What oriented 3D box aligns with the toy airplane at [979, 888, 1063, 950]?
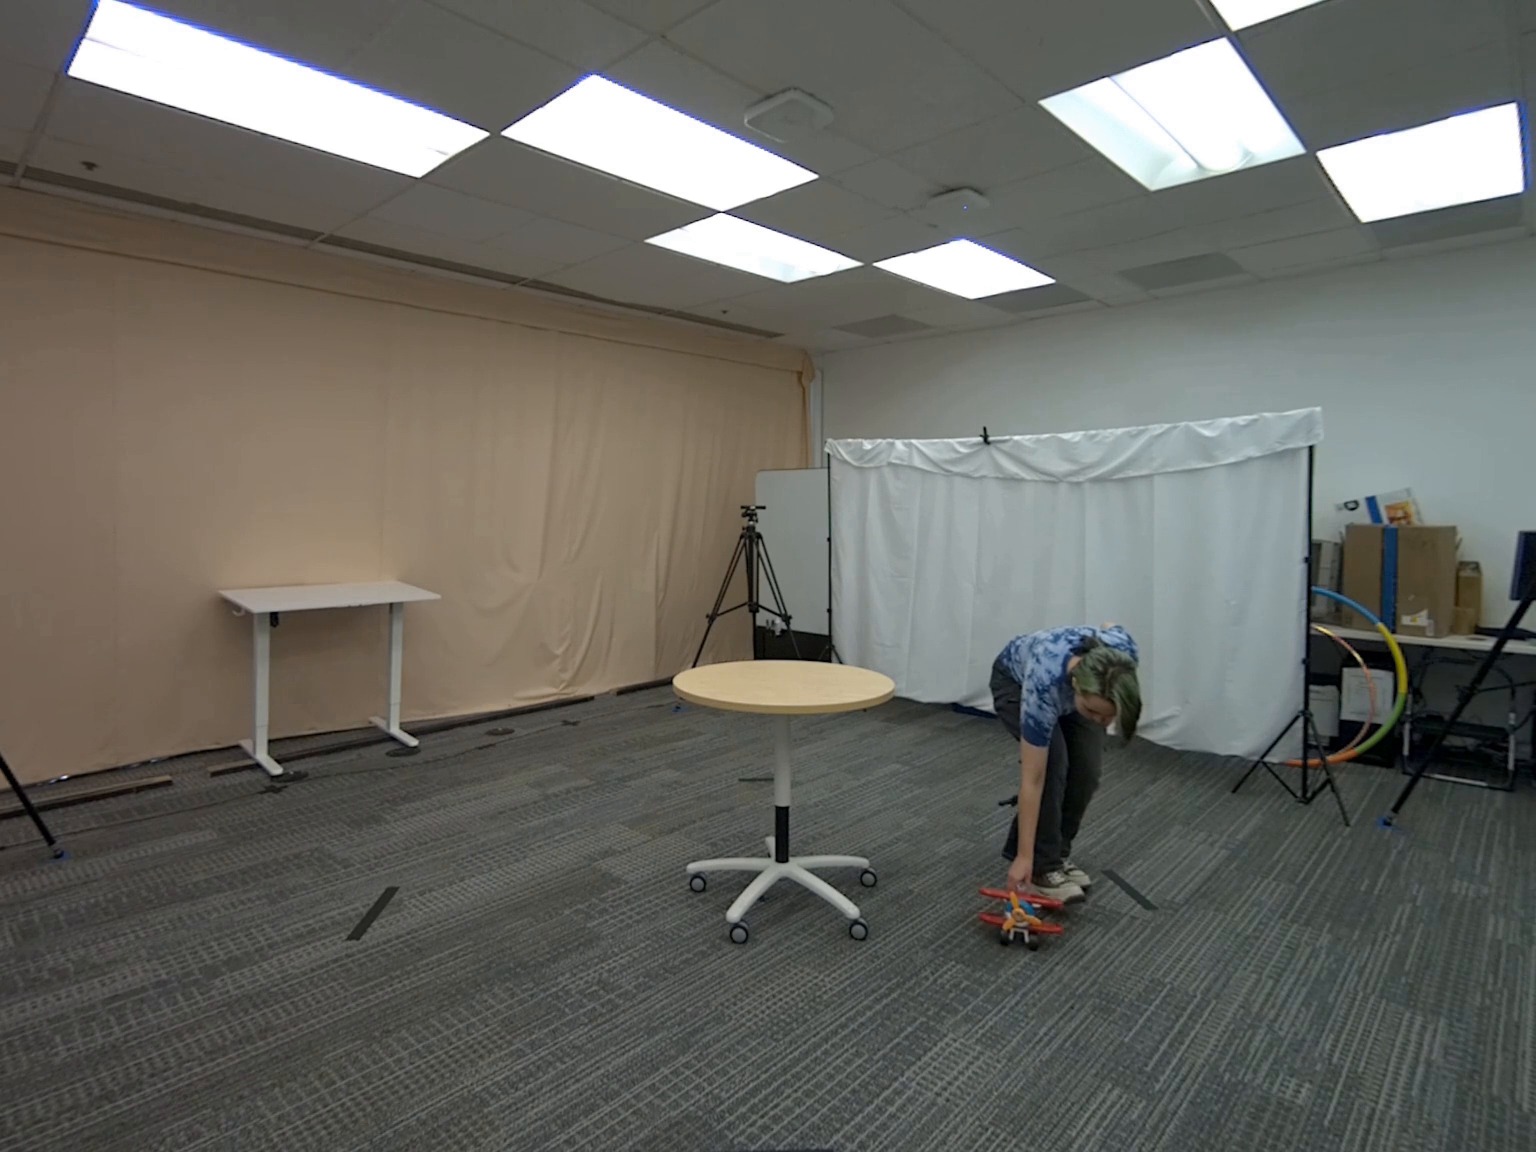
[{"bbox_3d":[0.810,1.092,2.734,0.249,0.156,0.262,1,5,-9],"label":"toy airplane"}]
